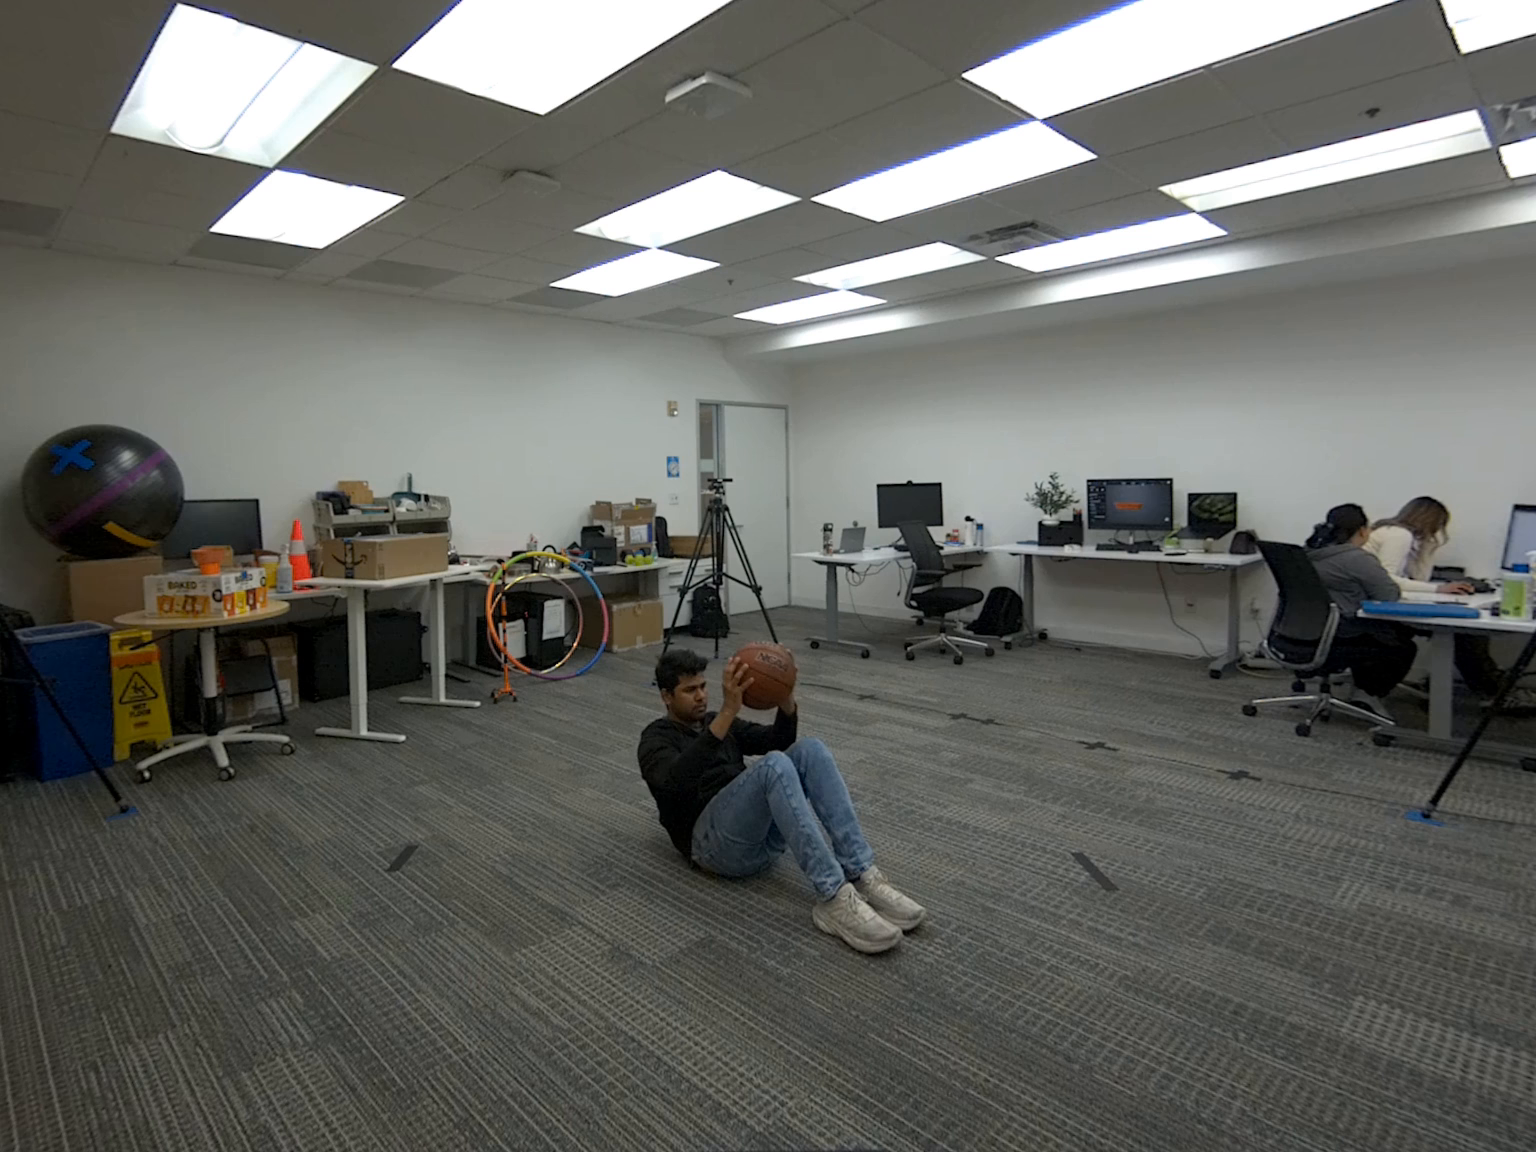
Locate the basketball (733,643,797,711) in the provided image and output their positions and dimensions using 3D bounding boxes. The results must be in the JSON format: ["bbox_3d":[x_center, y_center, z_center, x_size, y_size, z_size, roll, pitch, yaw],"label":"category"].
[{"bbox_3d":[-0.023,0.350,2.977,0.236,0.235,0.237,-1,5,-2],"label":"basketball"}]
